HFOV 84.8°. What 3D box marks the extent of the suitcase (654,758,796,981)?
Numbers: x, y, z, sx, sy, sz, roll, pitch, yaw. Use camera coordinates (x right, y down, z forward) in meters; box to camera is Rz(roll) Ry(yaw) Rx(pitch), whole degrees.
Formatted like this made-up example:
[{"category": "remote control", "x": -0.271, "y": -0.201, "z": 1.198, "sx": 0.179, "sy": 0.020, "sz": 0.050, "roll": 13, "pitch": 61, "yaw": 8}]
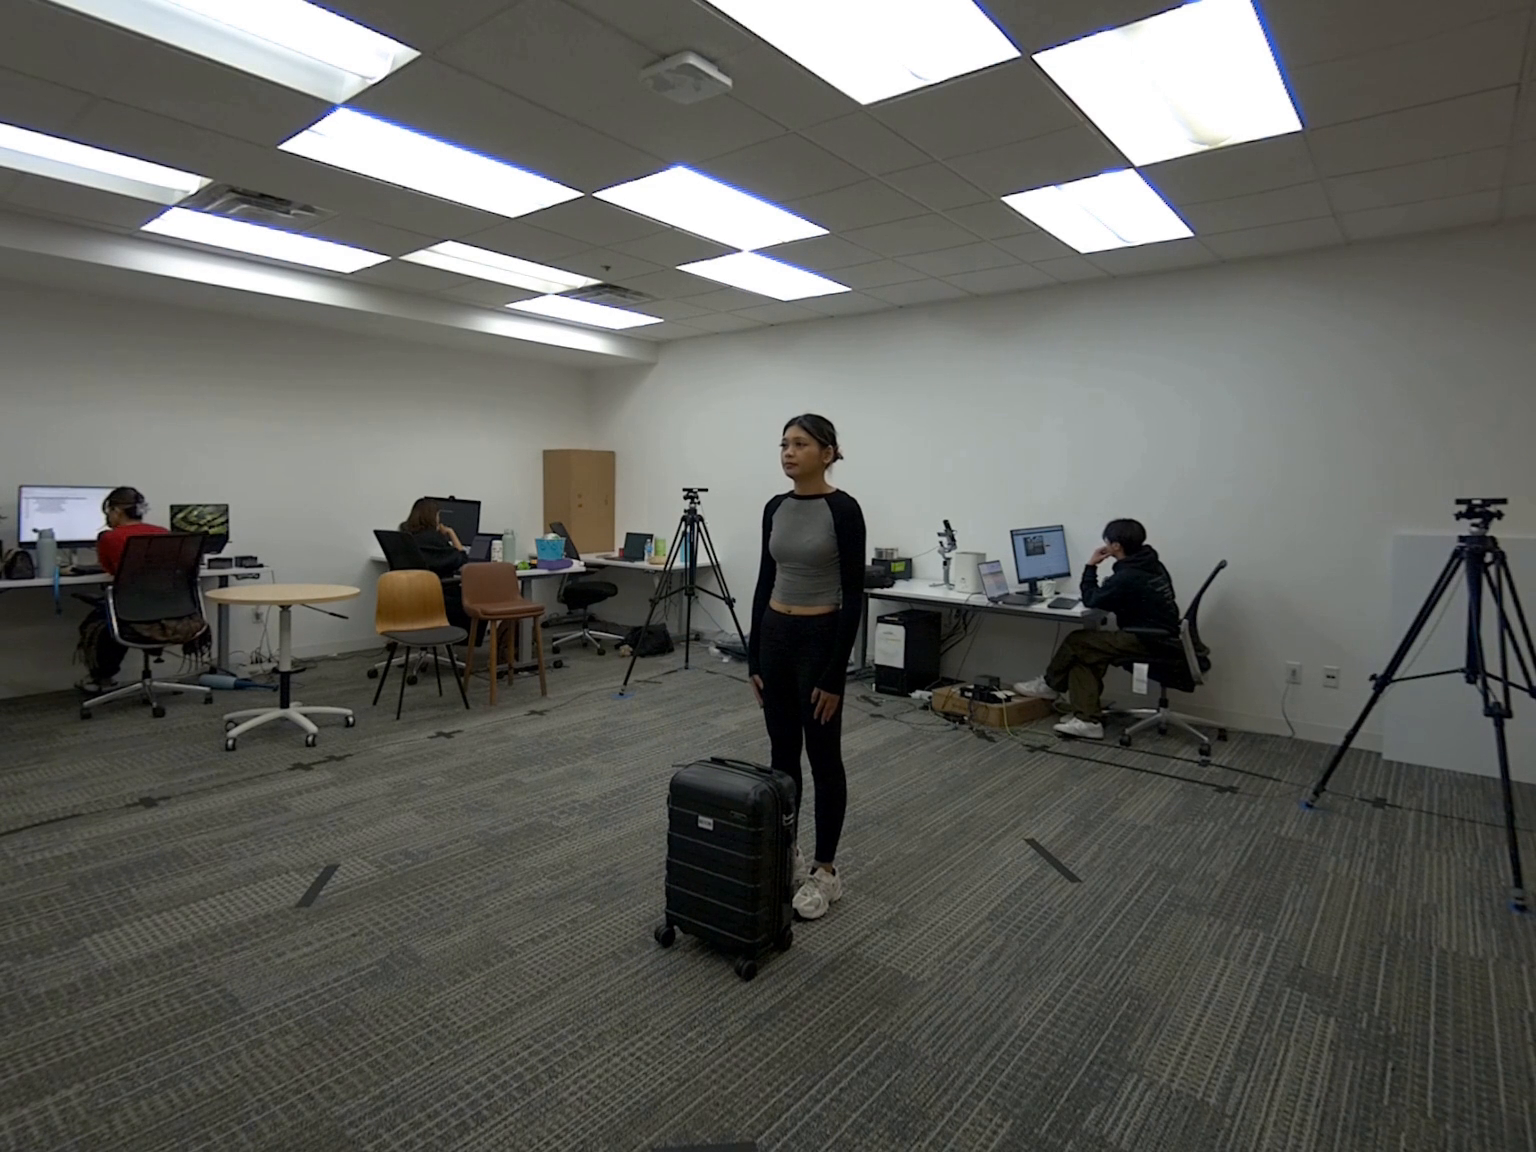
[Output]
[{"category": "suitcase", "x": -0.122, "y": 0.846, "z": 2.585, "sx": 0.387, "sy": 0.548, "sz": 0.241, "roll": 4, "pitch": 3, "yaw": 34}]
